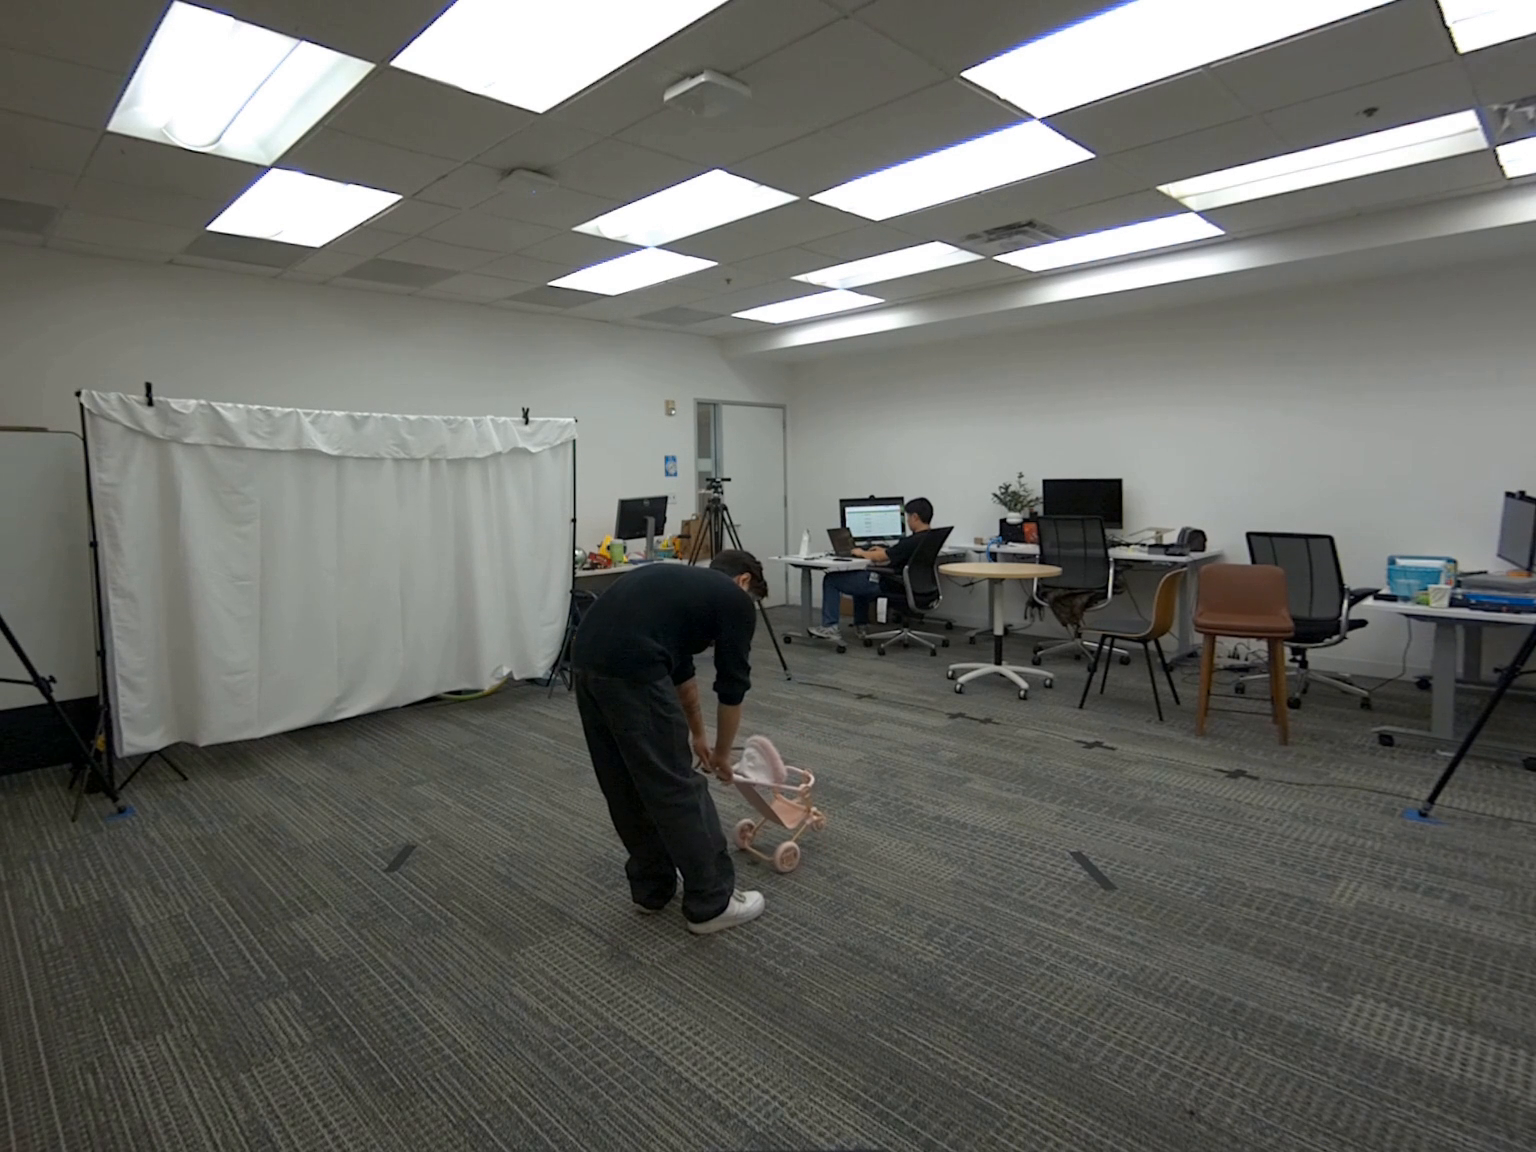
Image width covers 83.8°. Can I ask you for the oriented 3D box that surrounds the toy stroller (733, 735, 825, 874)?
[{"bbox_3d":[0.019,0.807,3.134,0.338,0.524,0.290,-32,20,-26],"label":"toy stroller"}]
